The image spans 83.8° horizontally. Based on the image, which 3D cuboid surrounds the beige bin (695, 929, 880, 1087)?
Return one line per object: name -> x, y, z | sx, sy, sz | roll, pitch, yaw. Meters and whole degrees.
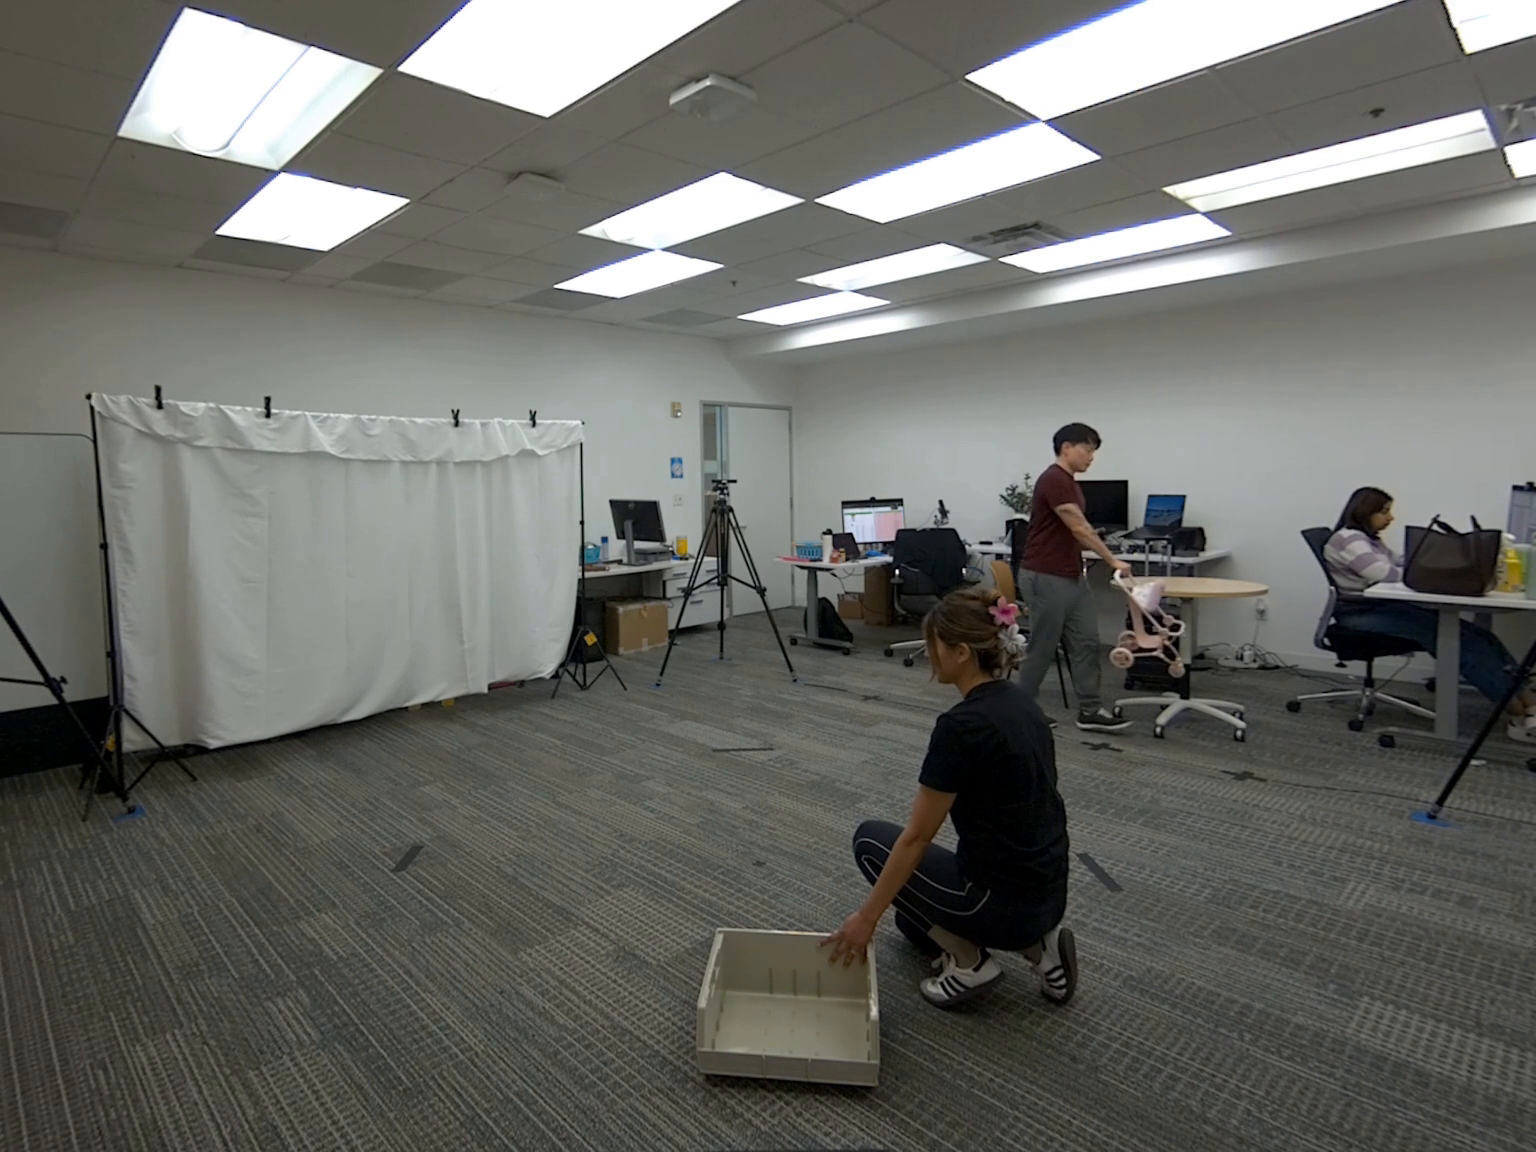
beige bin -> 0.066, 1.076, 2.111 | 0.425, 0.188, 0.376 | -1, 5, 6
